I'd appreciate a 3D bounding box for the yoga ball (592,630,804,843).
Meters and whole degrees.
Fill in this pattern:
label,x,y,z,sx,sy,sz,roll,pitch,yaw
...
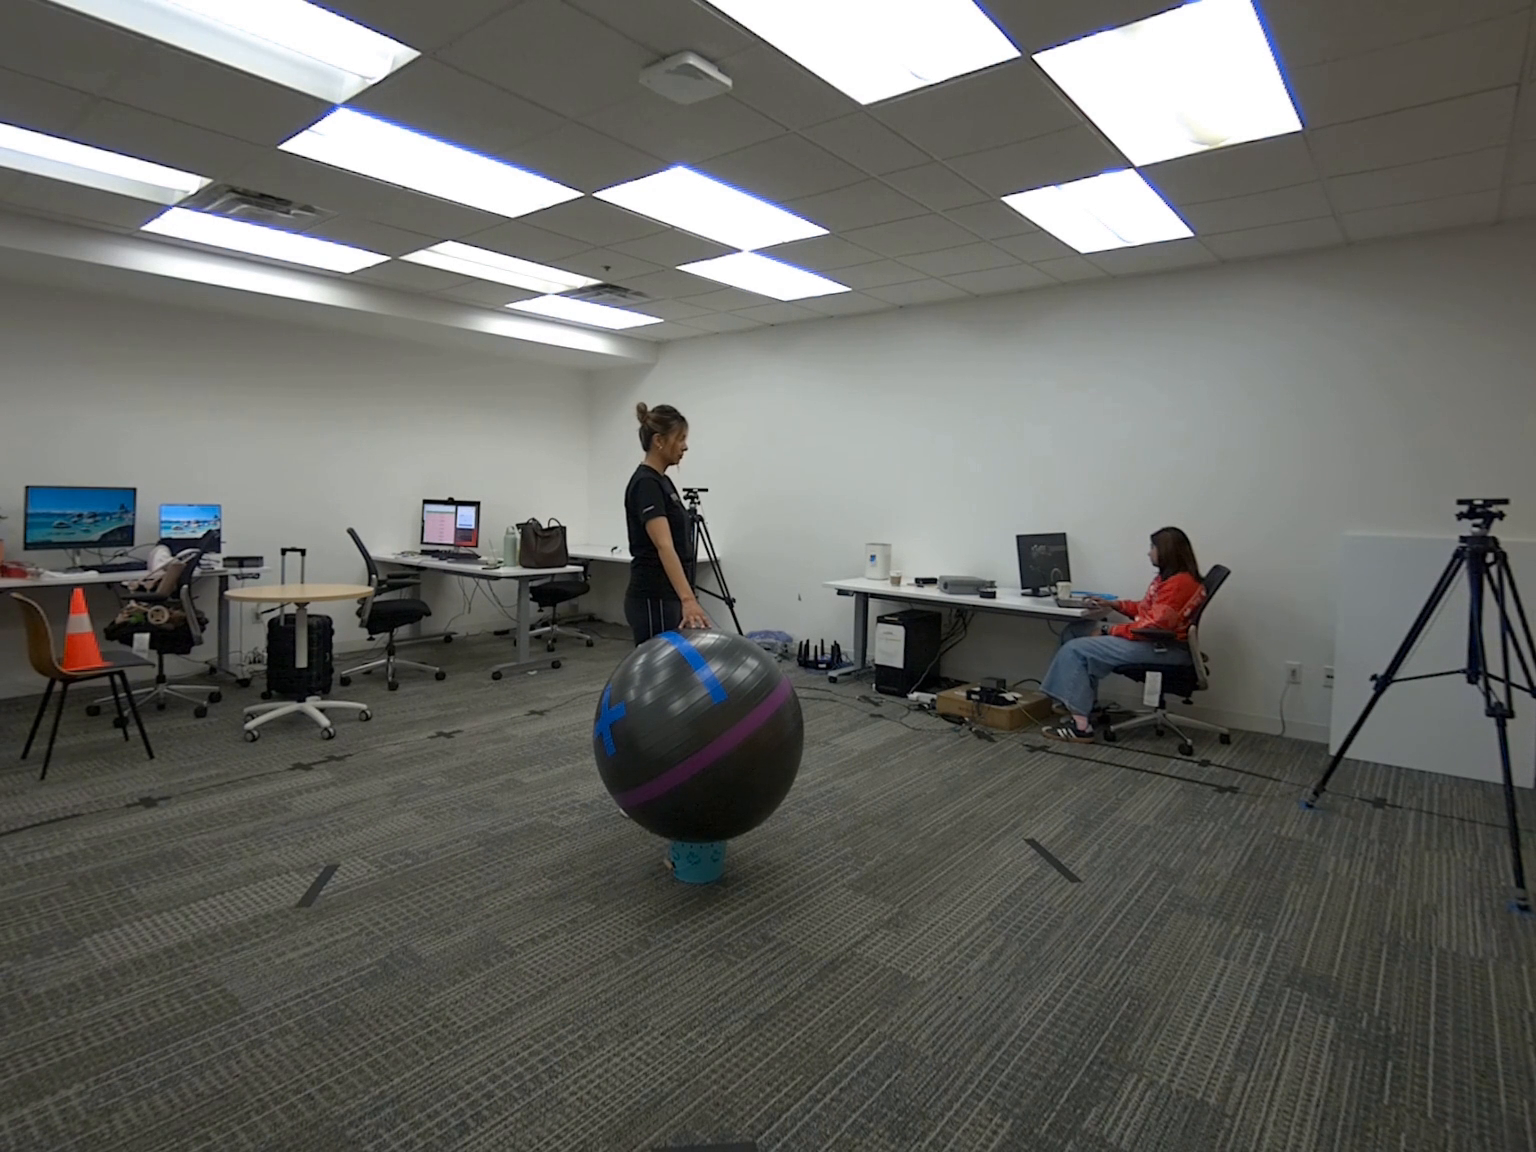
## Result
label,x,y,z,sx,sy,sz,roll,pitch,yaw
yoga ball,-0.263,0.564,3.069,0.757,0.755,0.762,1,4,-2
